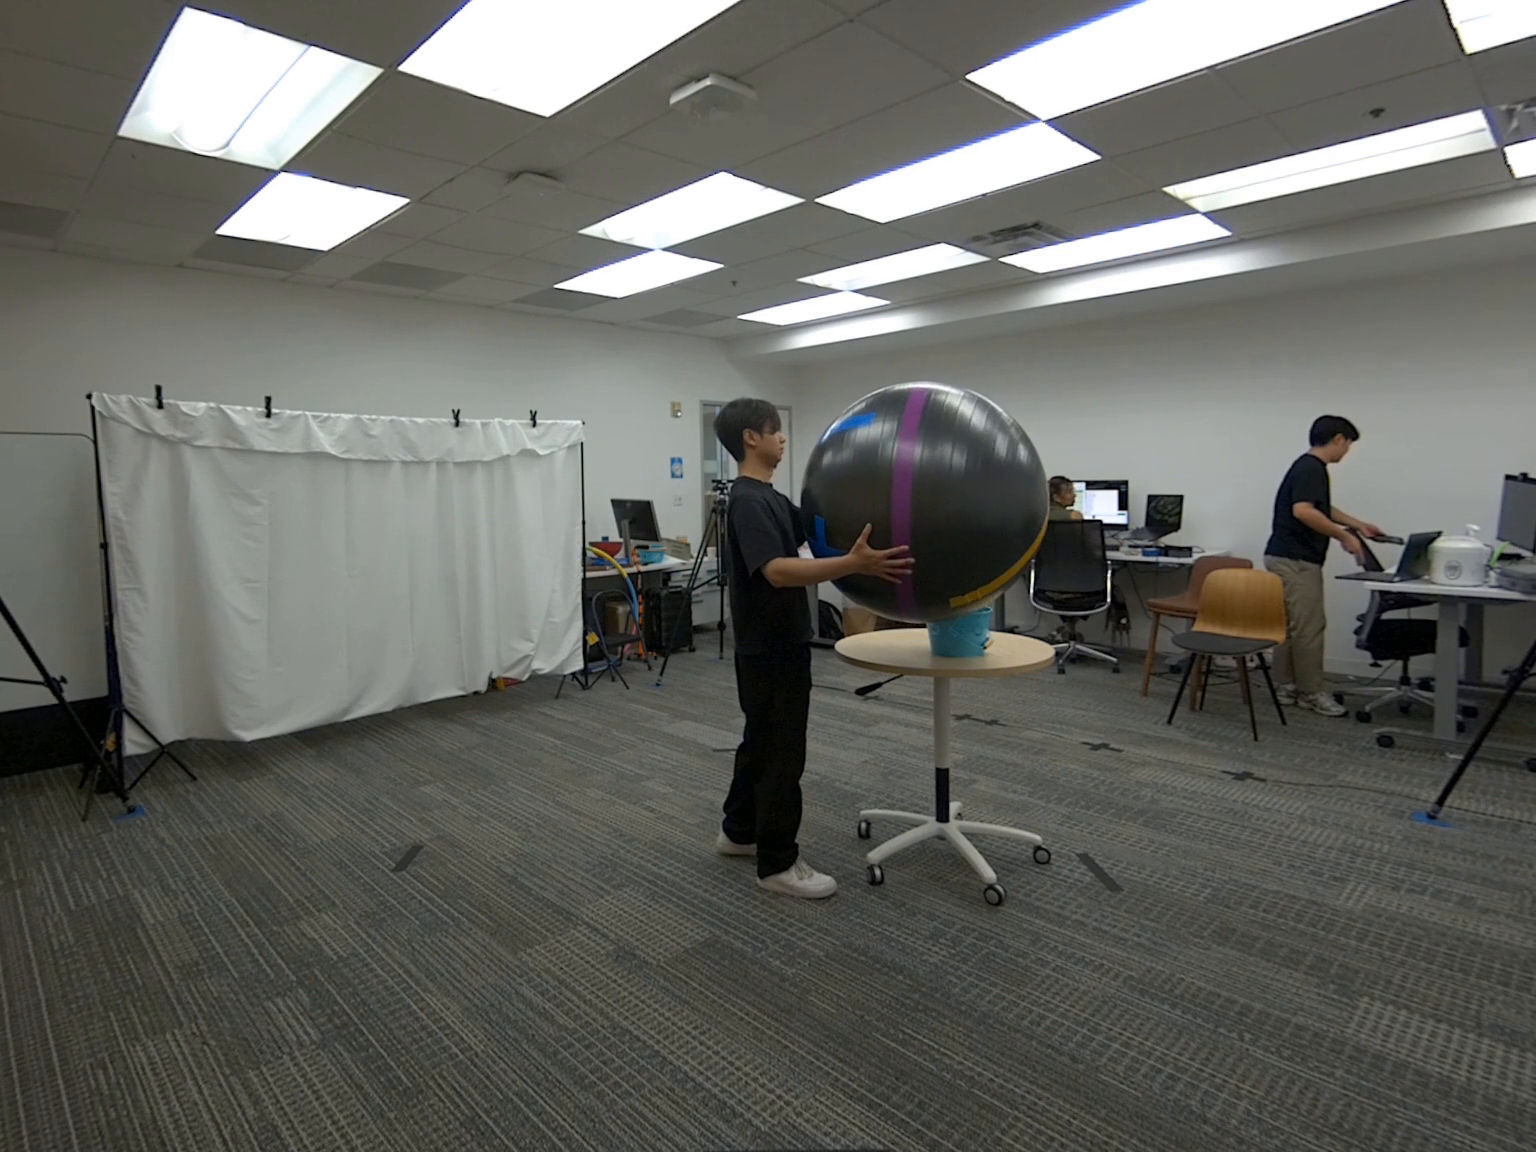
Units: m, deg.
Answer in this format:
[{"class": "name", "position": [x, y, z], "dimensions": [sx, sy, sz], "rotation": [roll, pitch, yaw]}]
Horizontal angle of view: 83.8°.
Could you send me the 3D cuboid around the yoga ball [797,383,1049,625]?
[{"class": "yoga ball", "position": [0.494, -0.226, 2.718], "dimensions": [0.757, 0.755, 0.762], "rotation": [-1, 5, -2]}]
